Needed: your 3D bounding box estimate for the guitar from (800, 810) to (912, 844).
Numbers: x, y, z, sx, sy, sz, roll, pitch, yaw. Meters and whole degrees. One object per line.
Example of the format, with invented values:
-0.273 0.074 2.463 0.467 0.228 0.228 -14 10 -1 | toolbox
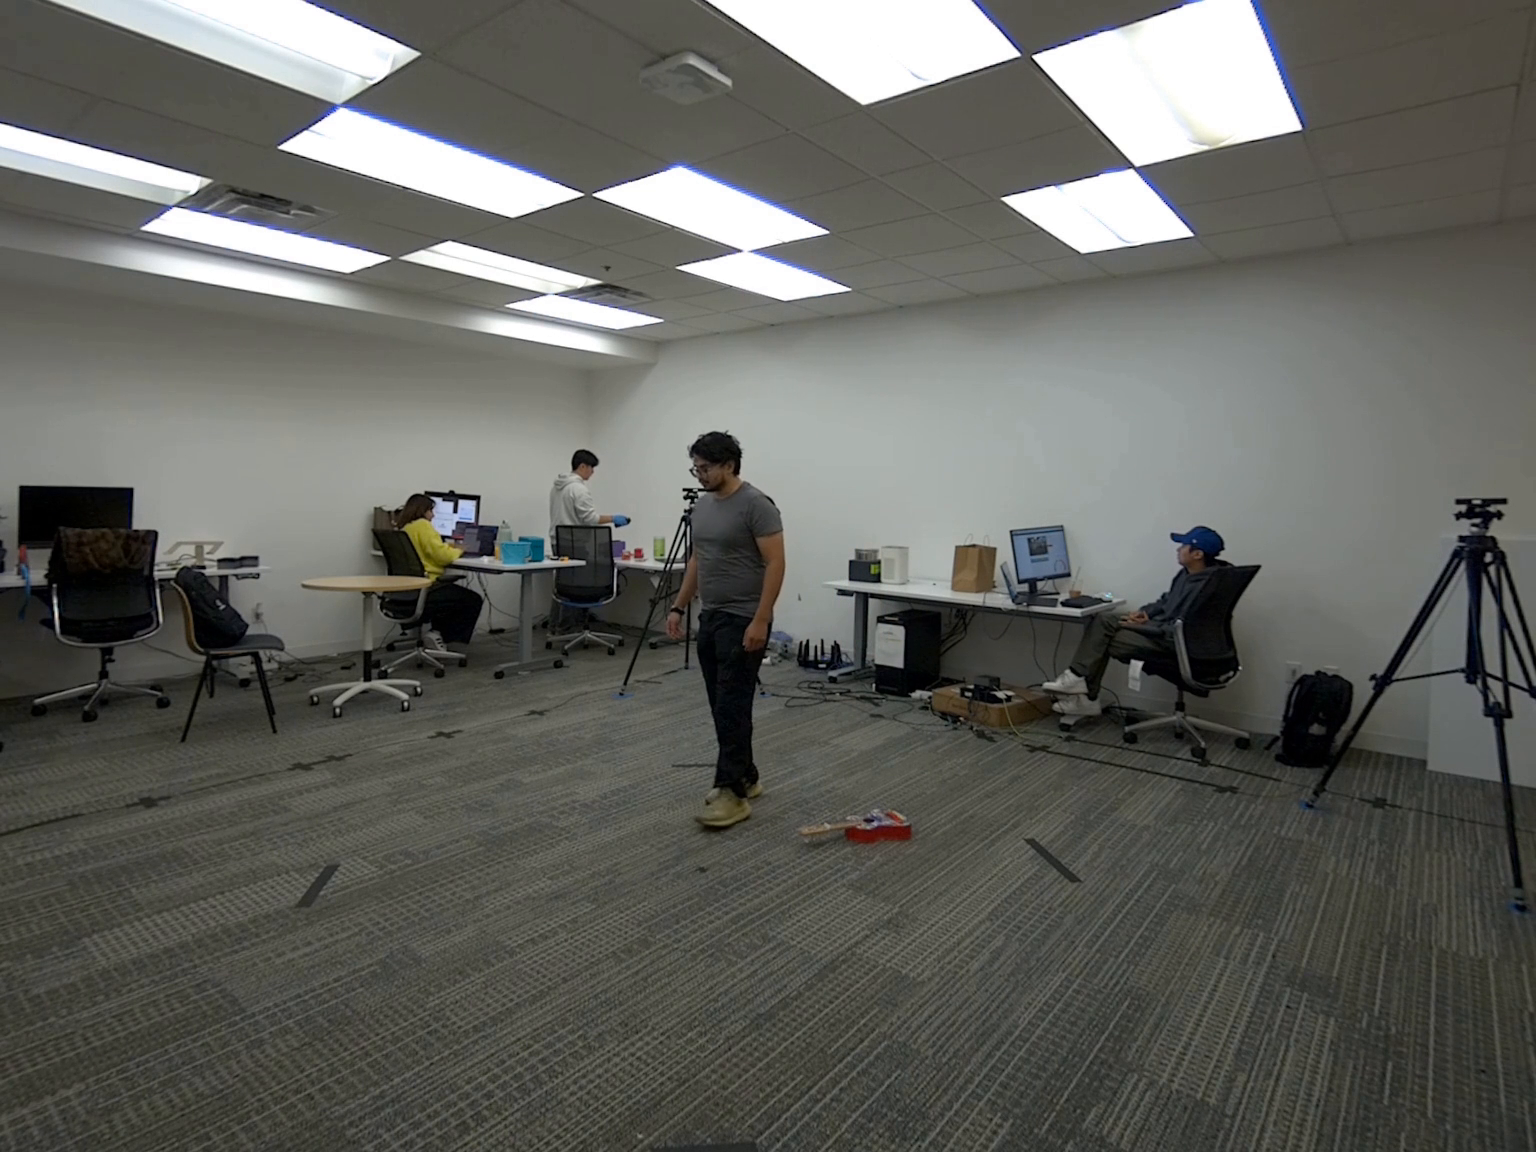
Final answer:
0.327 1.013 3.456 0.490 0.070 0.197 0 6 -16 | guitar
